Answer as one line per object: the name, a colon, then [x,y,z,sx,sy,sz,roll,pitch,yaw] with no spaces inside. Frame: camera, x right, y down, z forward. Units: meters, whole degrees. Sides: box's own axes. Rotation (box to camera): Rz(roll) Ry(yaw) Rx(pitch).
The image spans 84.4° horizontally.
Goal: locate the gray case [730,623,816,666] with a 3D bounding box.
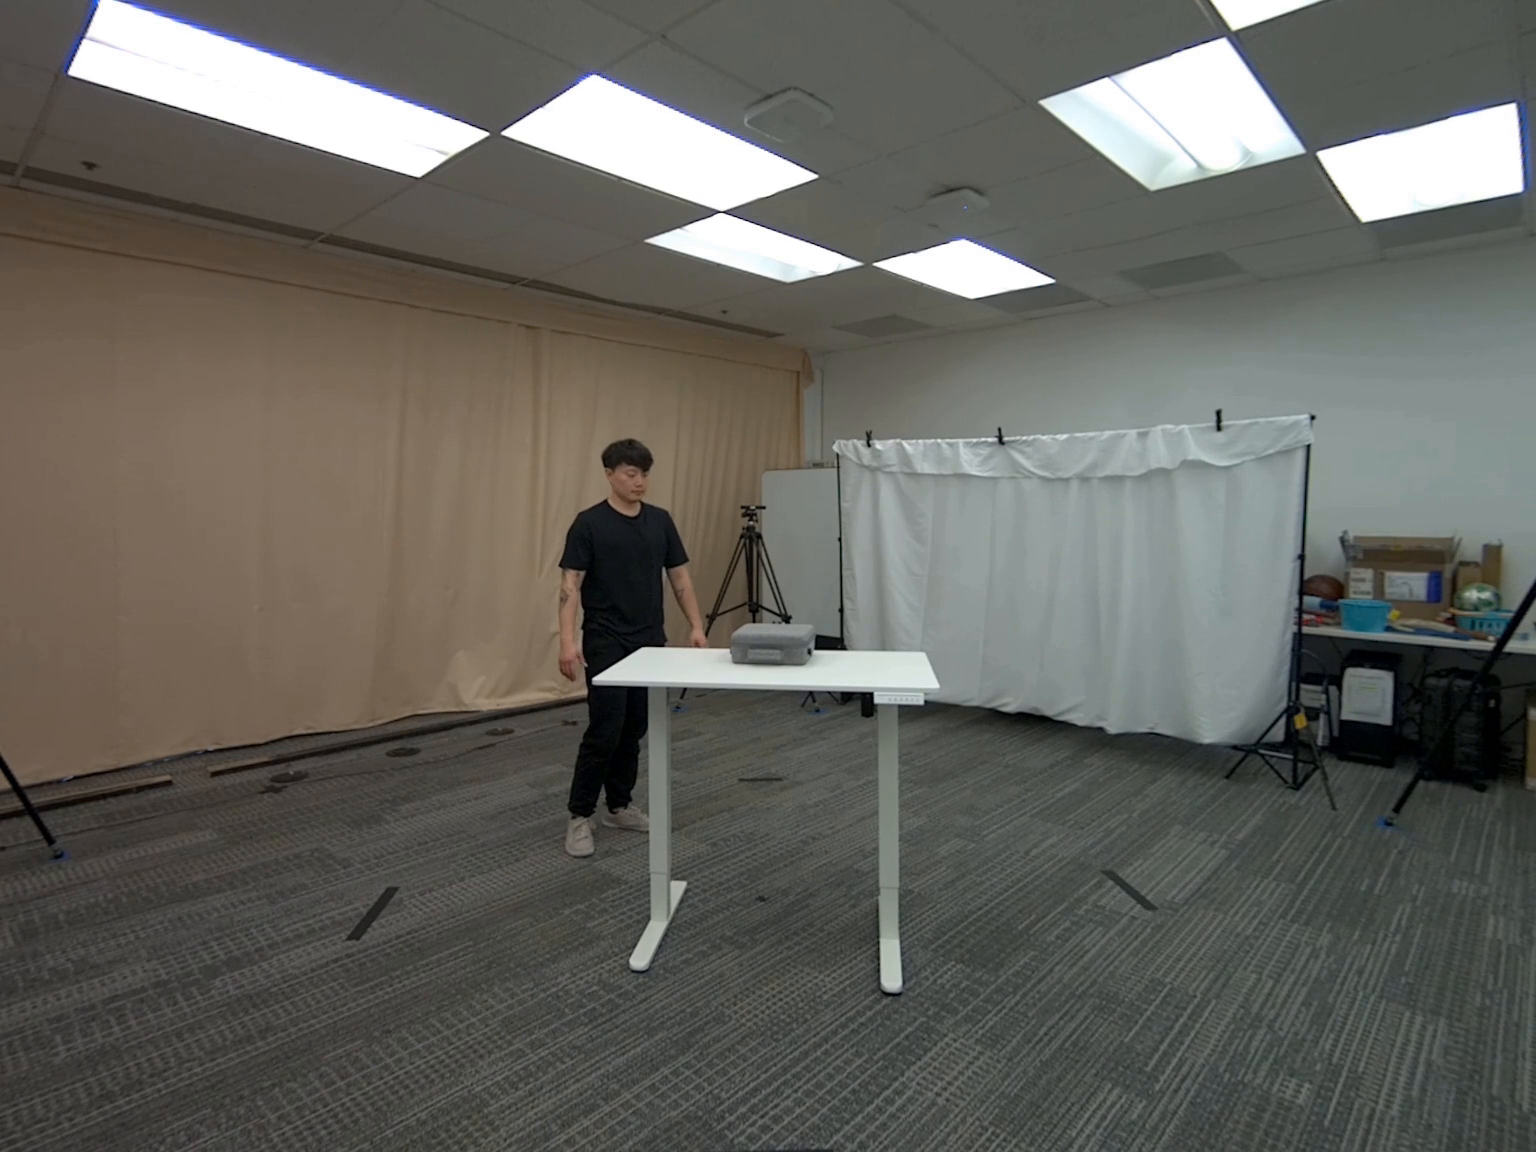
gray case: [0.025,0.224,2.798,0.261,0.104,0.257,2,5,12]
